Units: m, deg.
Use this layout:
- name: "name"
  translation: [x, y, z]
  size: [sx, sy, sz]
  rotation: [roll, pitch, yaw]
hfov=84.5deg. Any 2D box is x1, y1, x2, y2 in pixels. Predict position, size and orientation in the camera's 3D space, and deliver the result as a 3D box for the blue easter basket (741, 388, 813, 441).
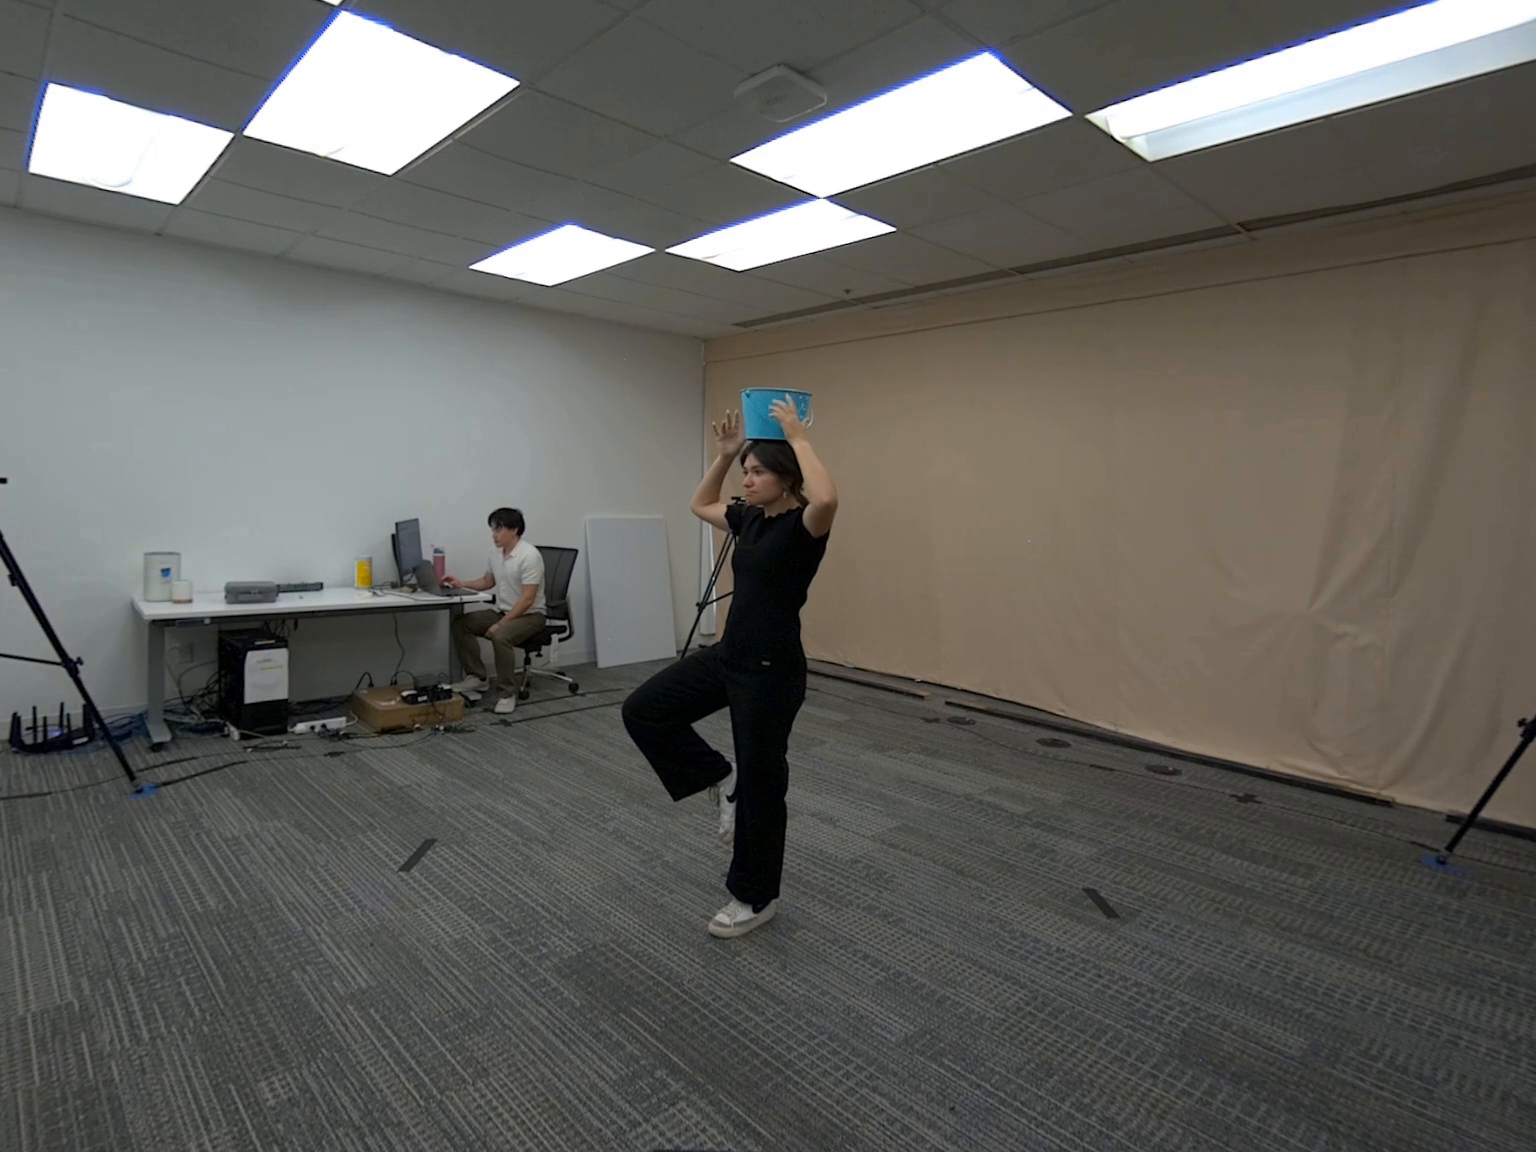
- name: "blue easter basket"
  translation: [0.015, -0.508, 2.677]
  size: [0.243, 0.155, 0.244]
  rotation: [3, 4, -2]
